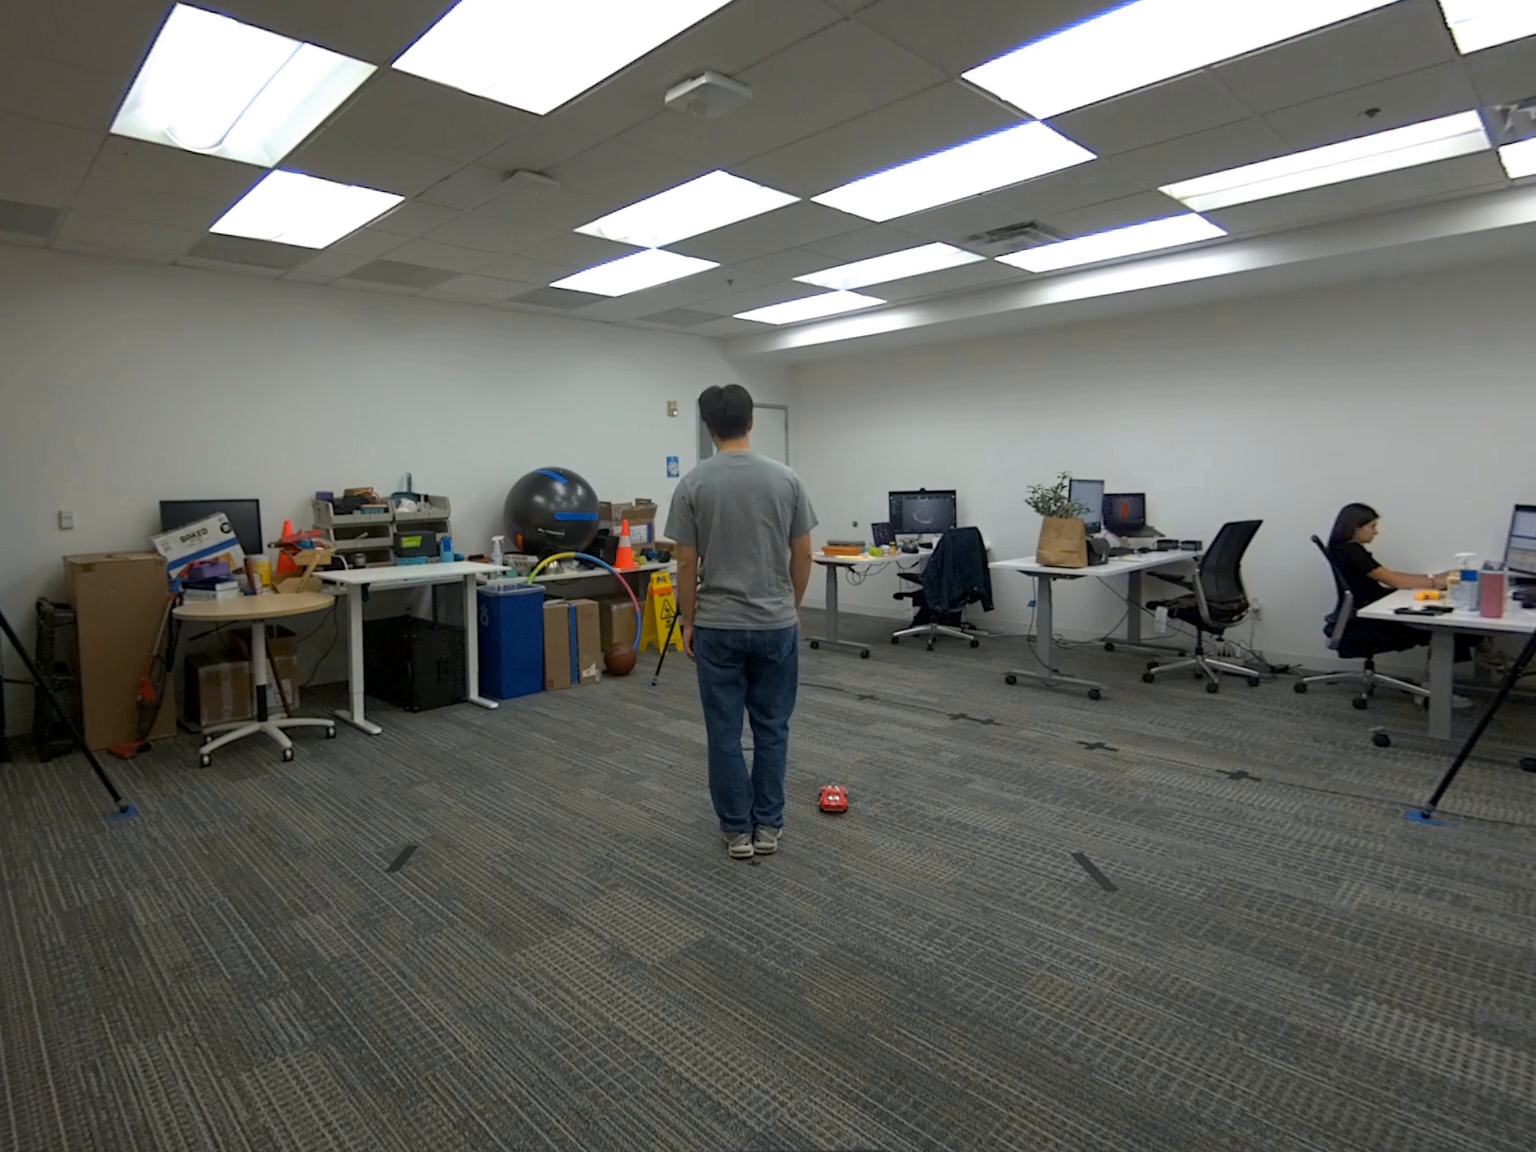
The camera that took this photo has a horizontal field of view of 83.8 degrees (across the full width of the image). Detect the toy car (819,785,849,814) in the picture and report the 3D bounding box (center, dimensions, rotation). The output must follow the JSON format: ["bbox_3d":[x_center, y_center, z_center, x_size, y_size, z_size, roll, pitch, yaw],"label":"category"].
[{"bbox_3d":[0.283,0.950,3.636,0.131,0.084,0.252,0,-5,4],"label":"toy car"}]
